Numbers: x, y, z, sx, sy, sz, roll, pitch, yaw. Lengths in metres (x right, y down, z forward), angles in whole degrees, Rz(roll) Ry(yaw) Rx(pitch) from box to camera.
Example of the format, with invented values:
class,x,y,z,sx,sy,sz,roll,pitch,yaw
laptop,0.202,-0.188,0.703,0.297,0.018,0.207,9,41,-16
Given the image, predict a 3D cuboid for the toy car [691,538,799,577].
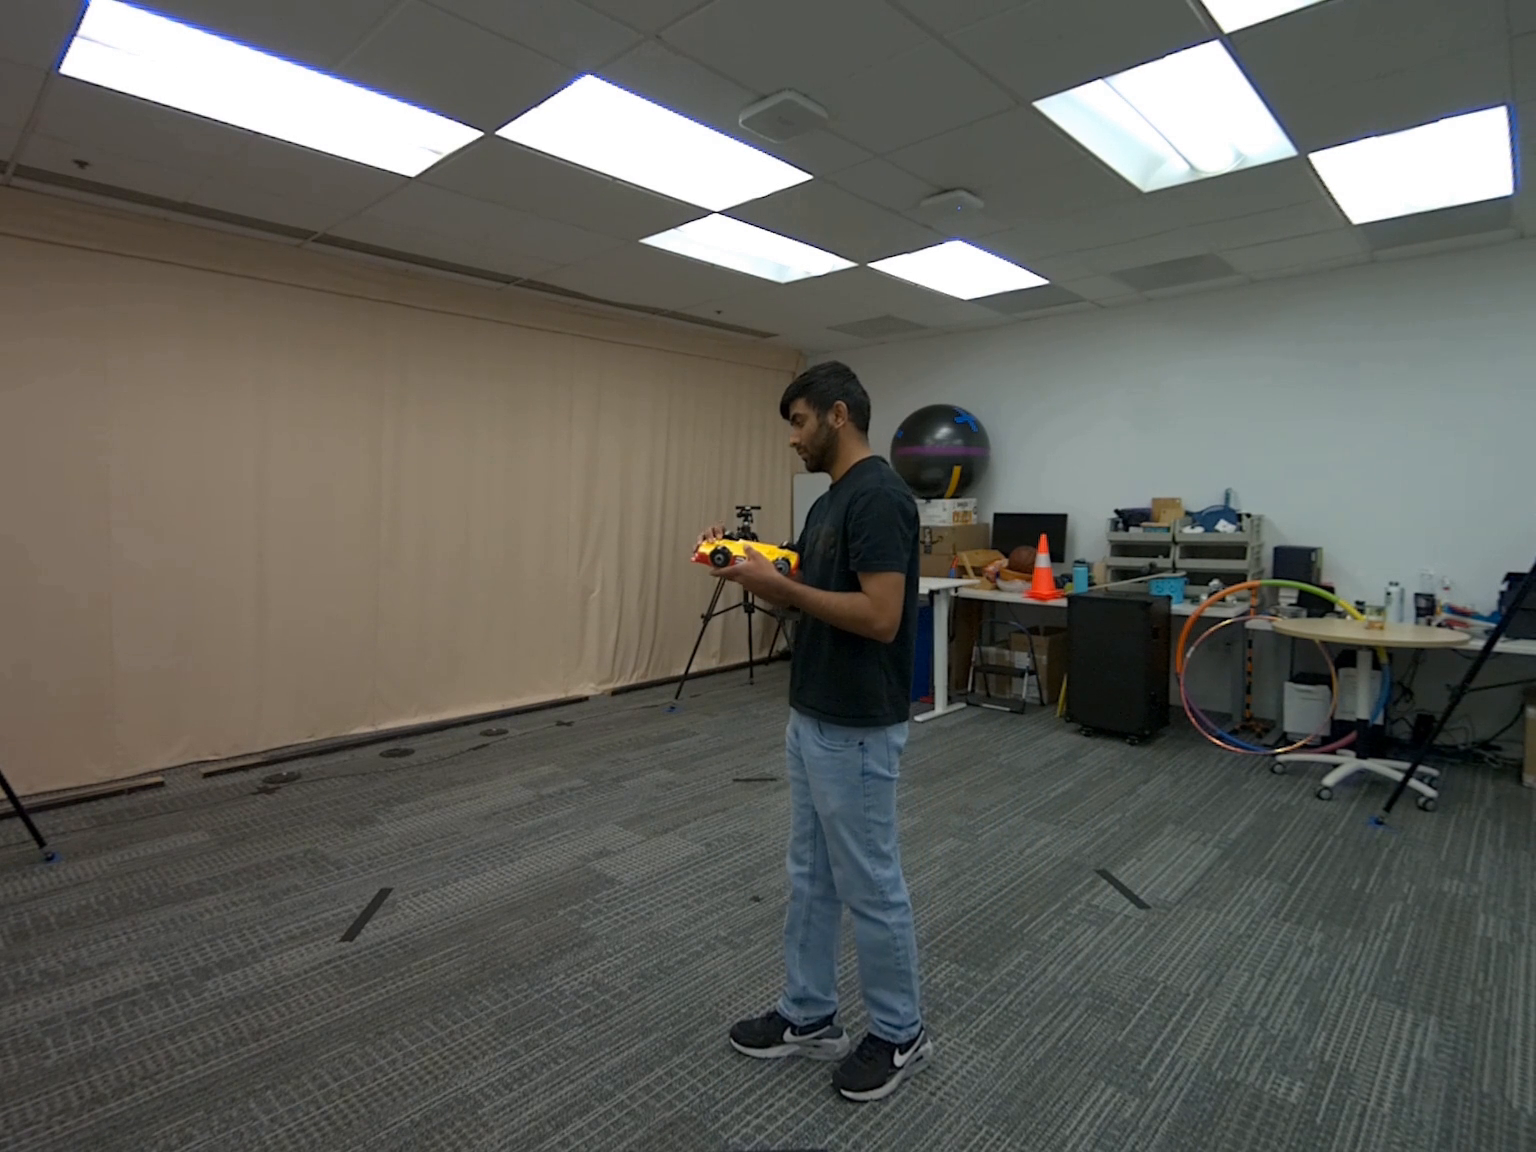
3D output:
class,x,y,z,sx,sy,sz,roll,pitch,yaw
toy car,-0.050,-0.050,2.000,0.258,0.082,0.130,2,20,13
